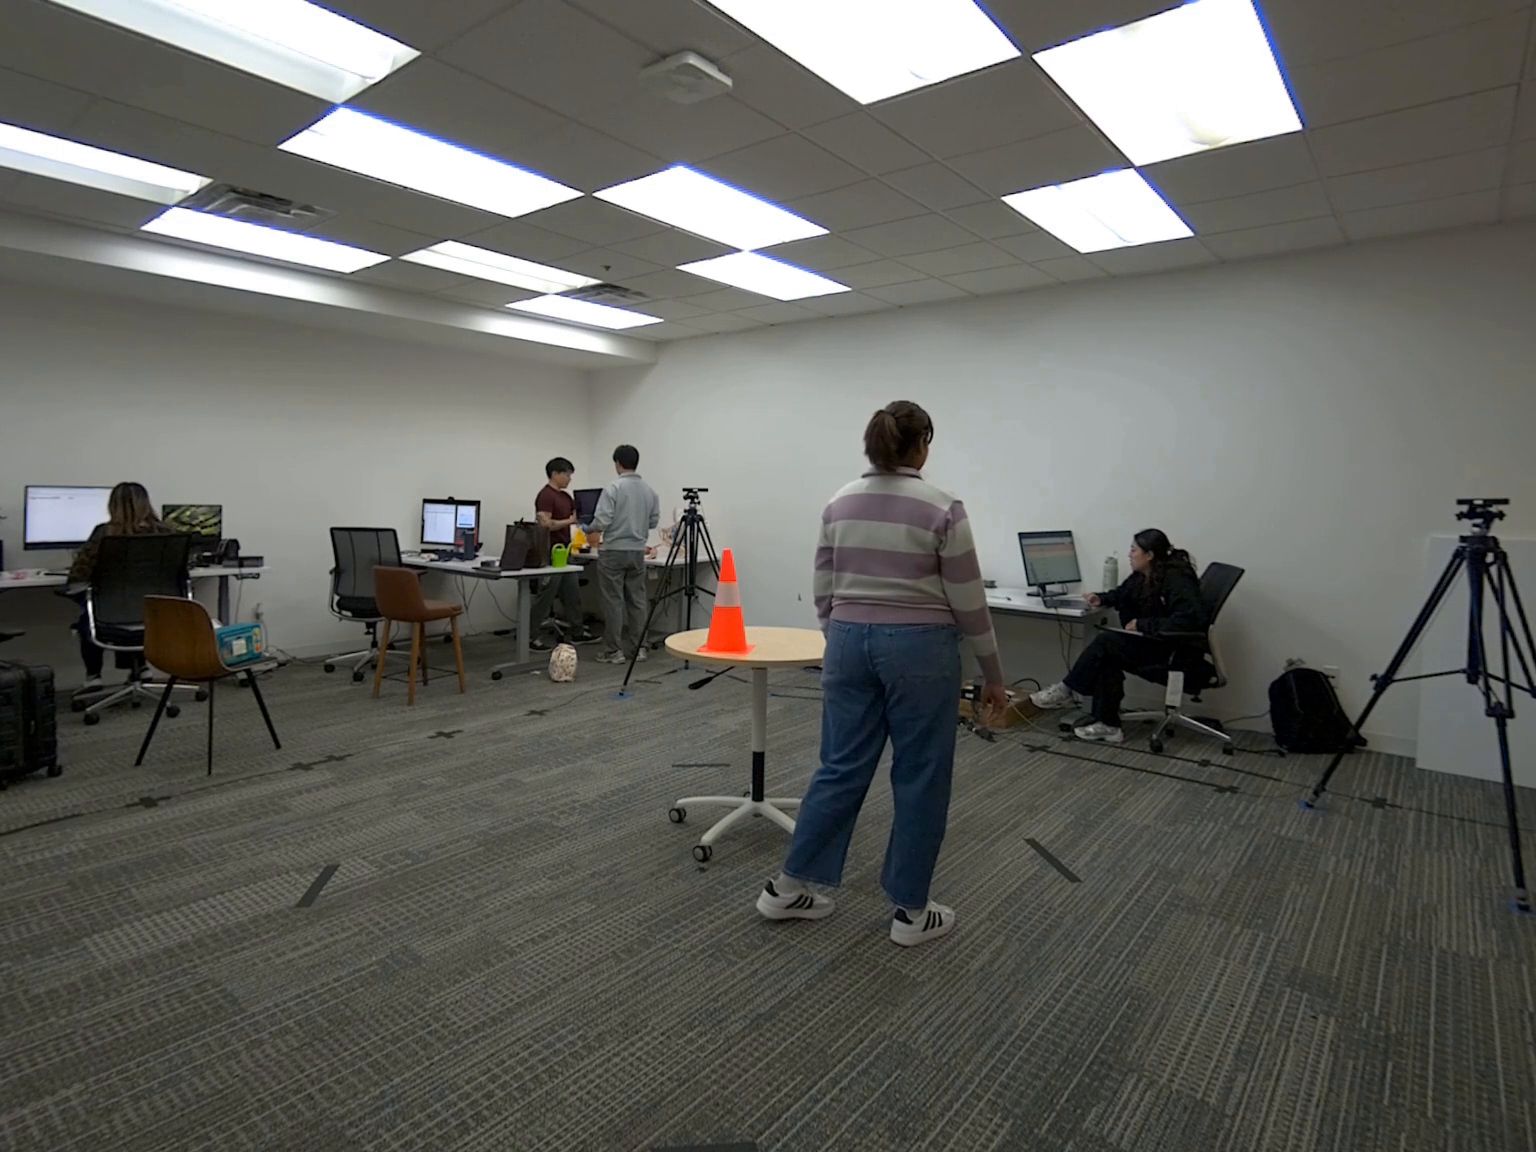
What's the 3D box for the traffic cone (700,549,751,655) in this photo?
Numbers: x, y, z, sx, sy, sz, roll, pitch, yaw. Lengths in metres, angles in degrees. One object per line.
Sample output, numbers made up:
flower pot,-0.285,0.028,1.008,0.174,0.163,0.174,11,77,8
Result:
traffic cone,-0.168,0.086,3.236,0.208,0.382,0.201,1,4,12
